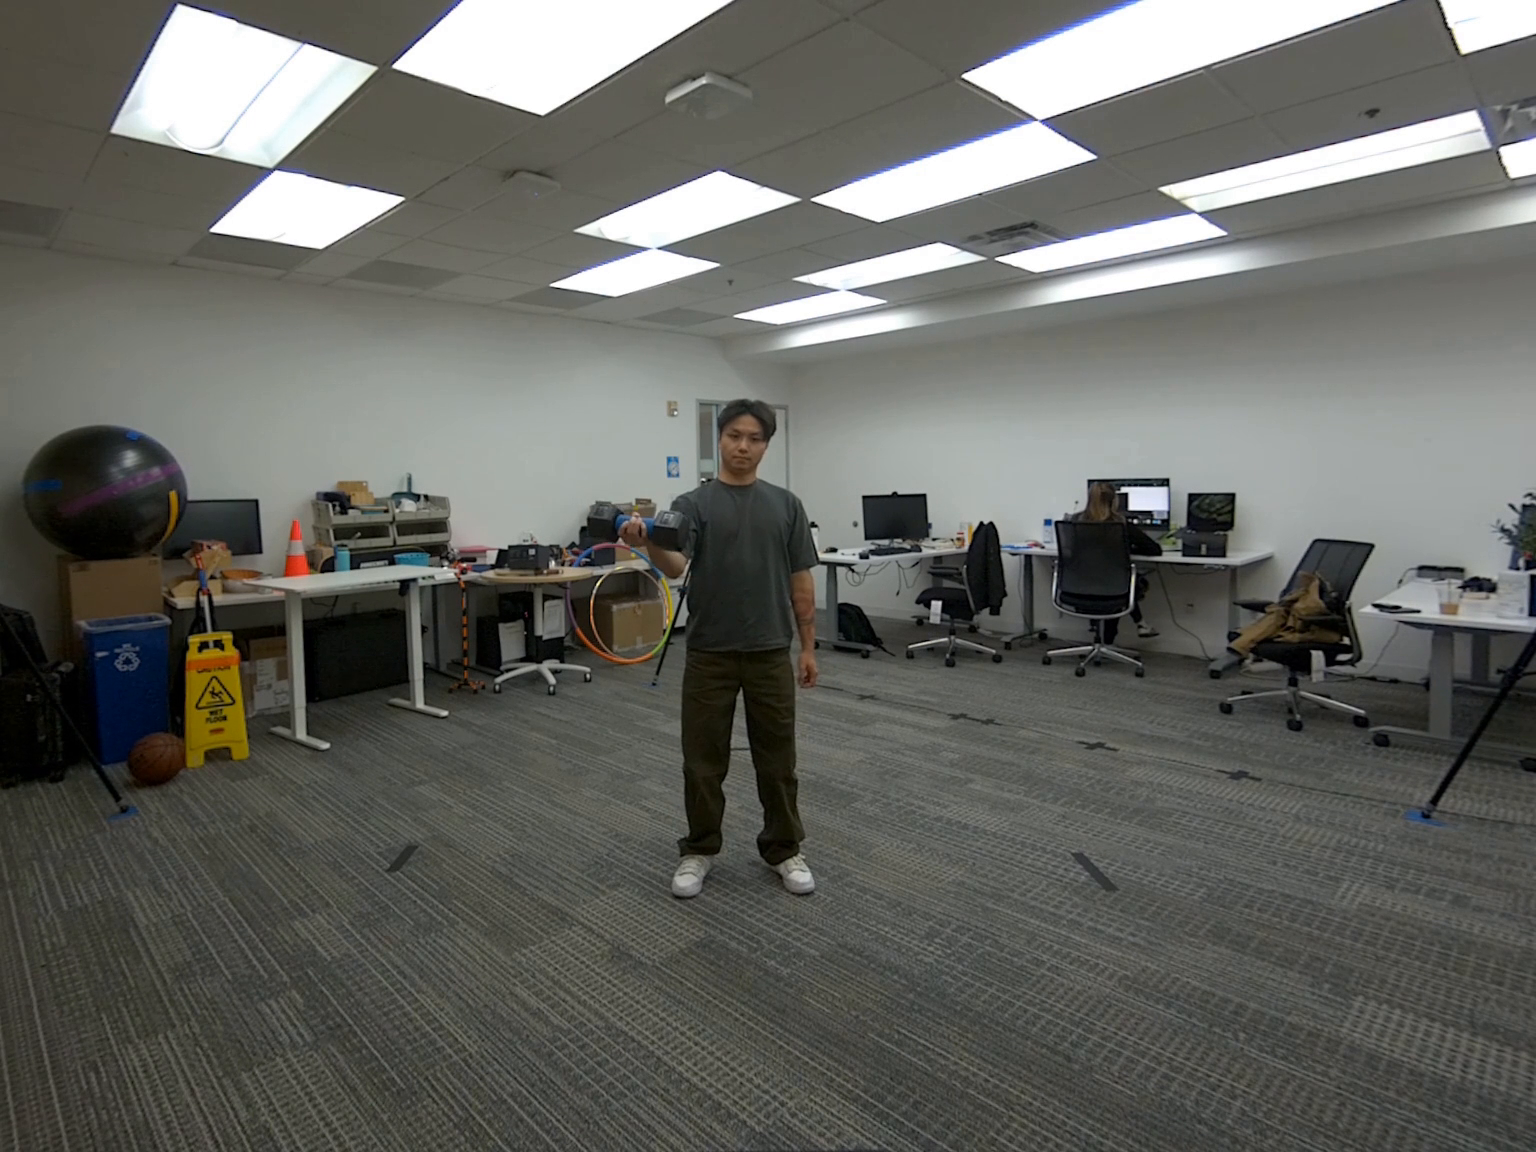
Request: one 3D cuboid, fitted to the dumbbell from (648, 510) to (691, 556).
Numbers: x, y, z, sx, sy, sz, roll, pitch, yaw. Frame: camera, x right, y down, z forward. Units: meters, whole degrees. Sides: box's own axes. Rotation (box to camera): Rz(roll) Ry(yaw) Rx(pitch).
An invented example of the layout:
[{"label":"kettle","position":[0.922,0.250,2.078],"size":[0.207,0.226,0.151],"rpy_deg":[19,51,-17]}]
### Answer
[{"label":"dumbbell","position":[-0.378,-0.153,2.519],"size":[0.299,0.121,0.108],"rpy_deg":[7,18,17]}]
